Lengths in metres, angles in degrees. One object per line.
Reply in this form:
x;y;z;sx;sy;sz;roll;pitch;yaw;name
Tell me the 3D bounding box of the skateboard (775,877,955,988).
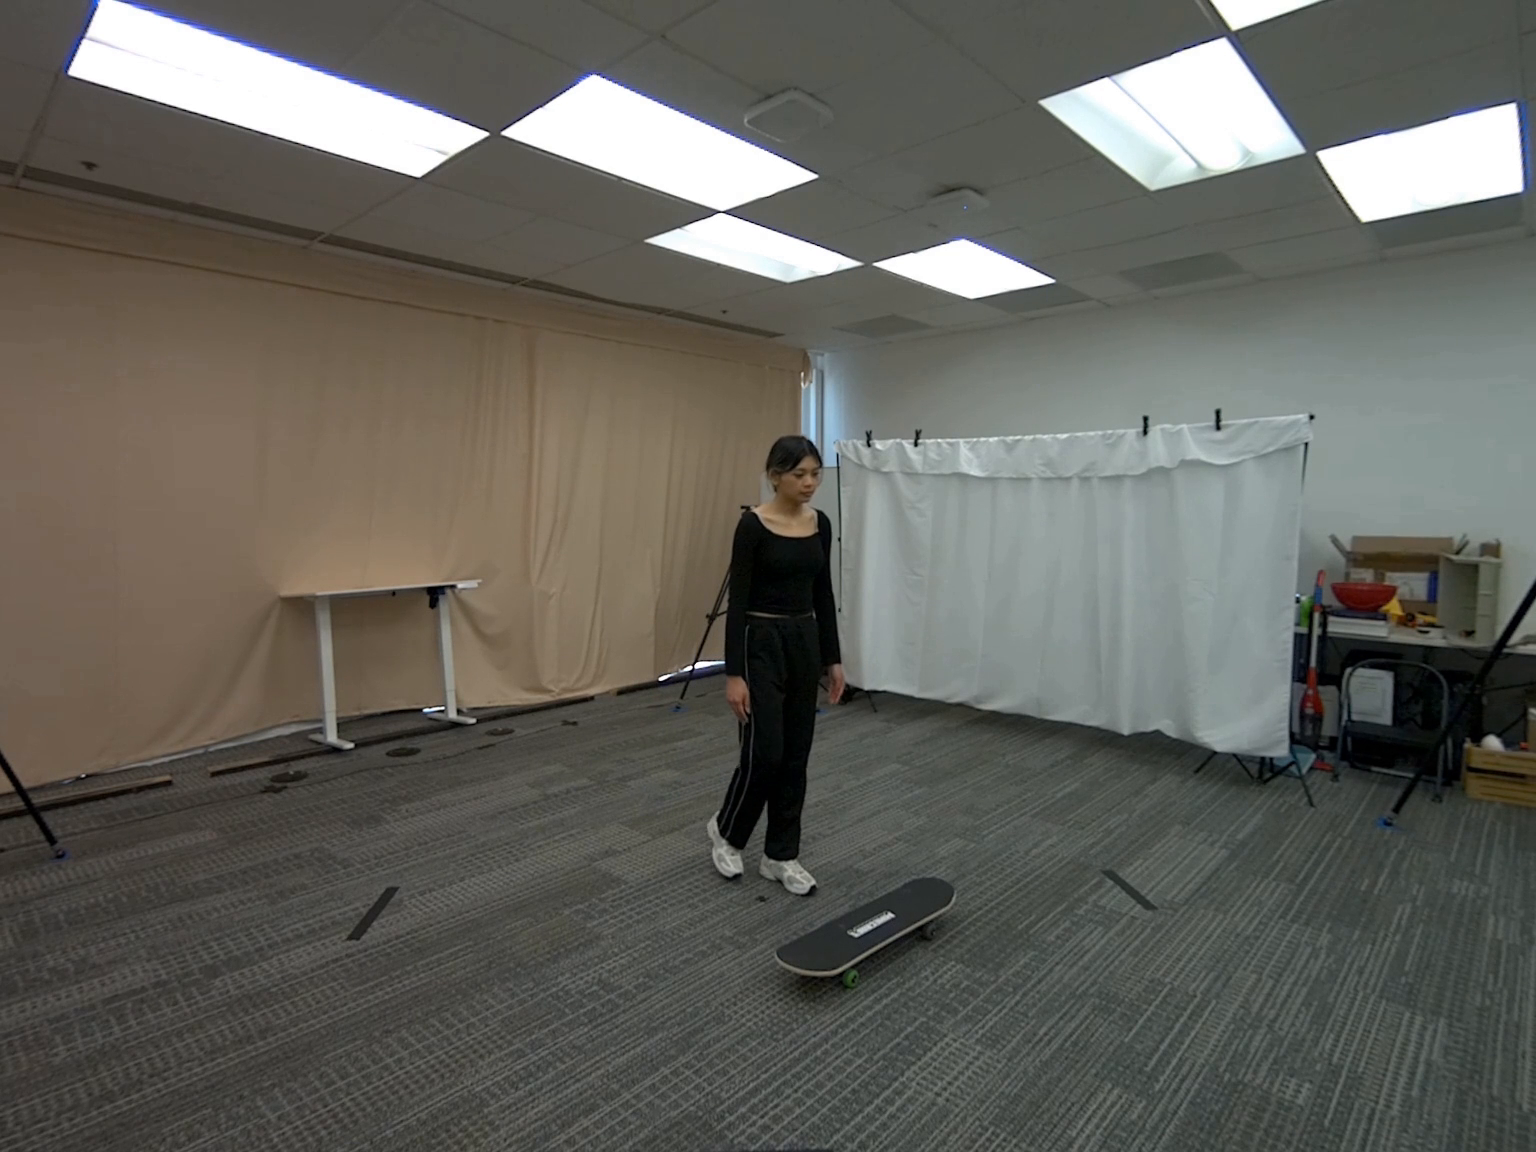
0.330;1.126;2.608;0.761;0.110;0.200;-4;6;-43;skateboard
